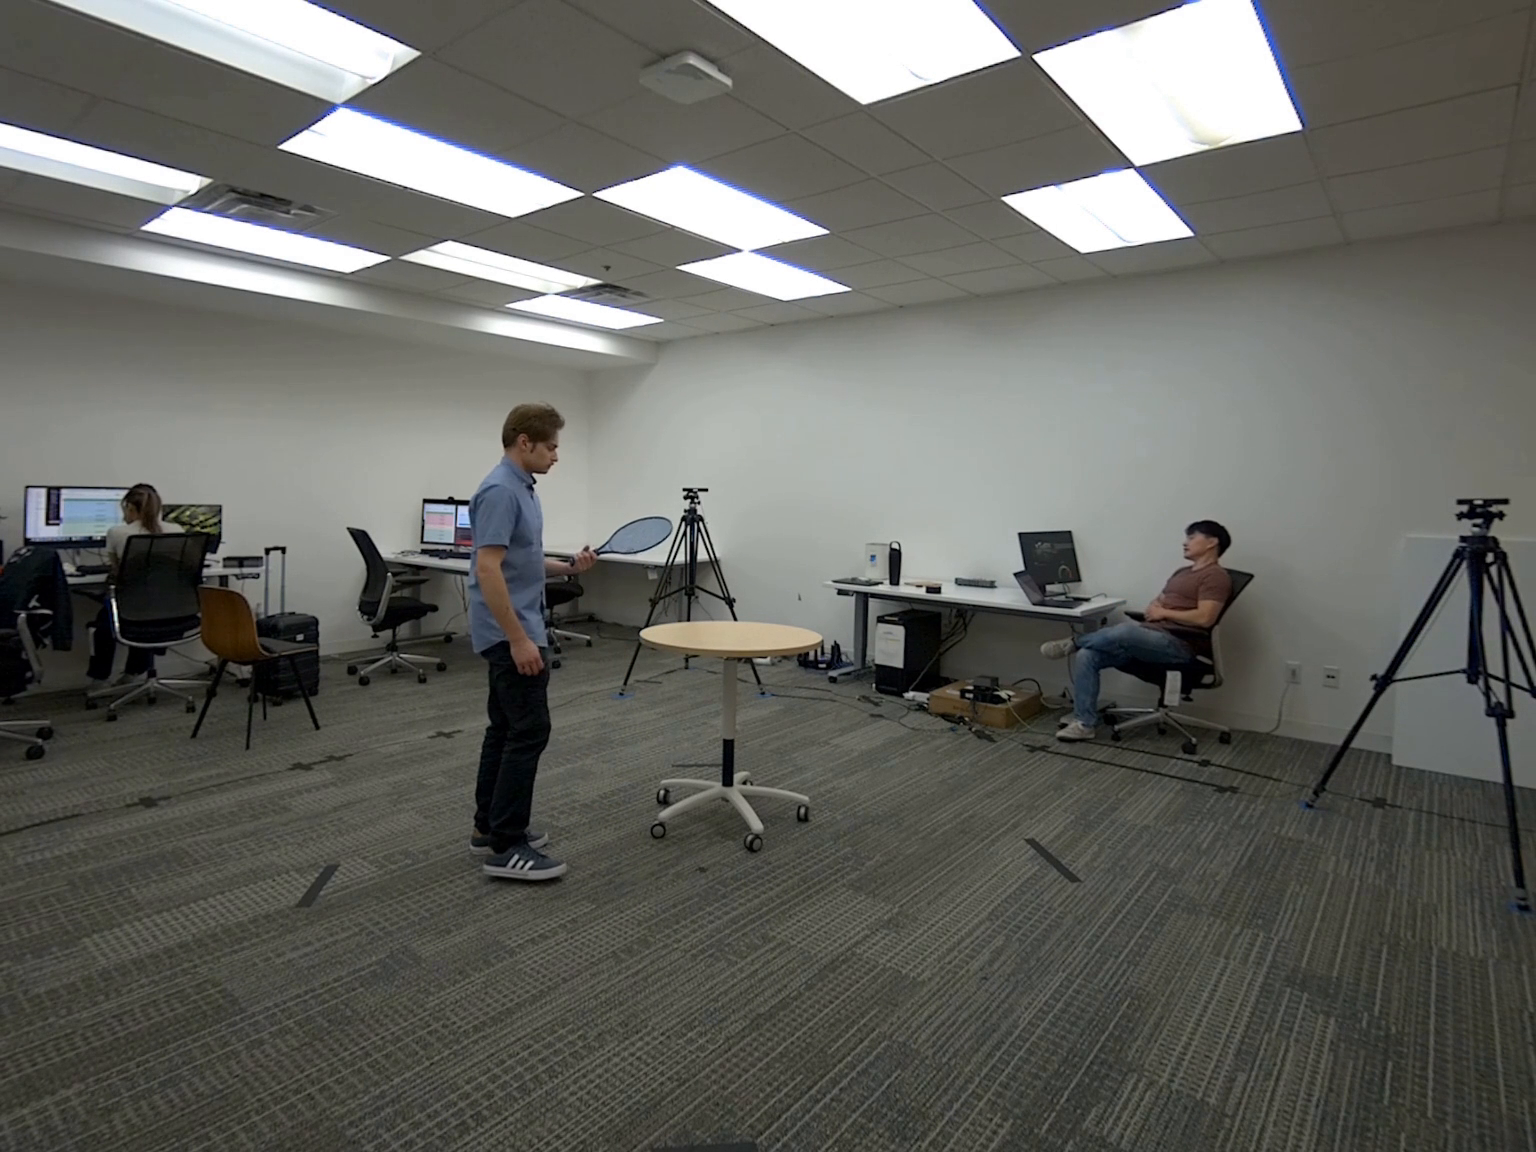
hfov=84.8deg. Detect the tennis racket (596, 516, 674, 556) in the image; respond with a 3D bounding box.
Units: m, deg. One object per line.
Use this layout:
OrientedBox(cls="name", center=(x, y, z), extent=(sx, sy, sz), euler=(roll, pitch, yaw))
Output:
OrientedBox(cls="tennis racket", center=(-0.595, -0.130, 3.371), extent=(0.431, 0.030, 0.222), euler=(-23, 41, -8))
